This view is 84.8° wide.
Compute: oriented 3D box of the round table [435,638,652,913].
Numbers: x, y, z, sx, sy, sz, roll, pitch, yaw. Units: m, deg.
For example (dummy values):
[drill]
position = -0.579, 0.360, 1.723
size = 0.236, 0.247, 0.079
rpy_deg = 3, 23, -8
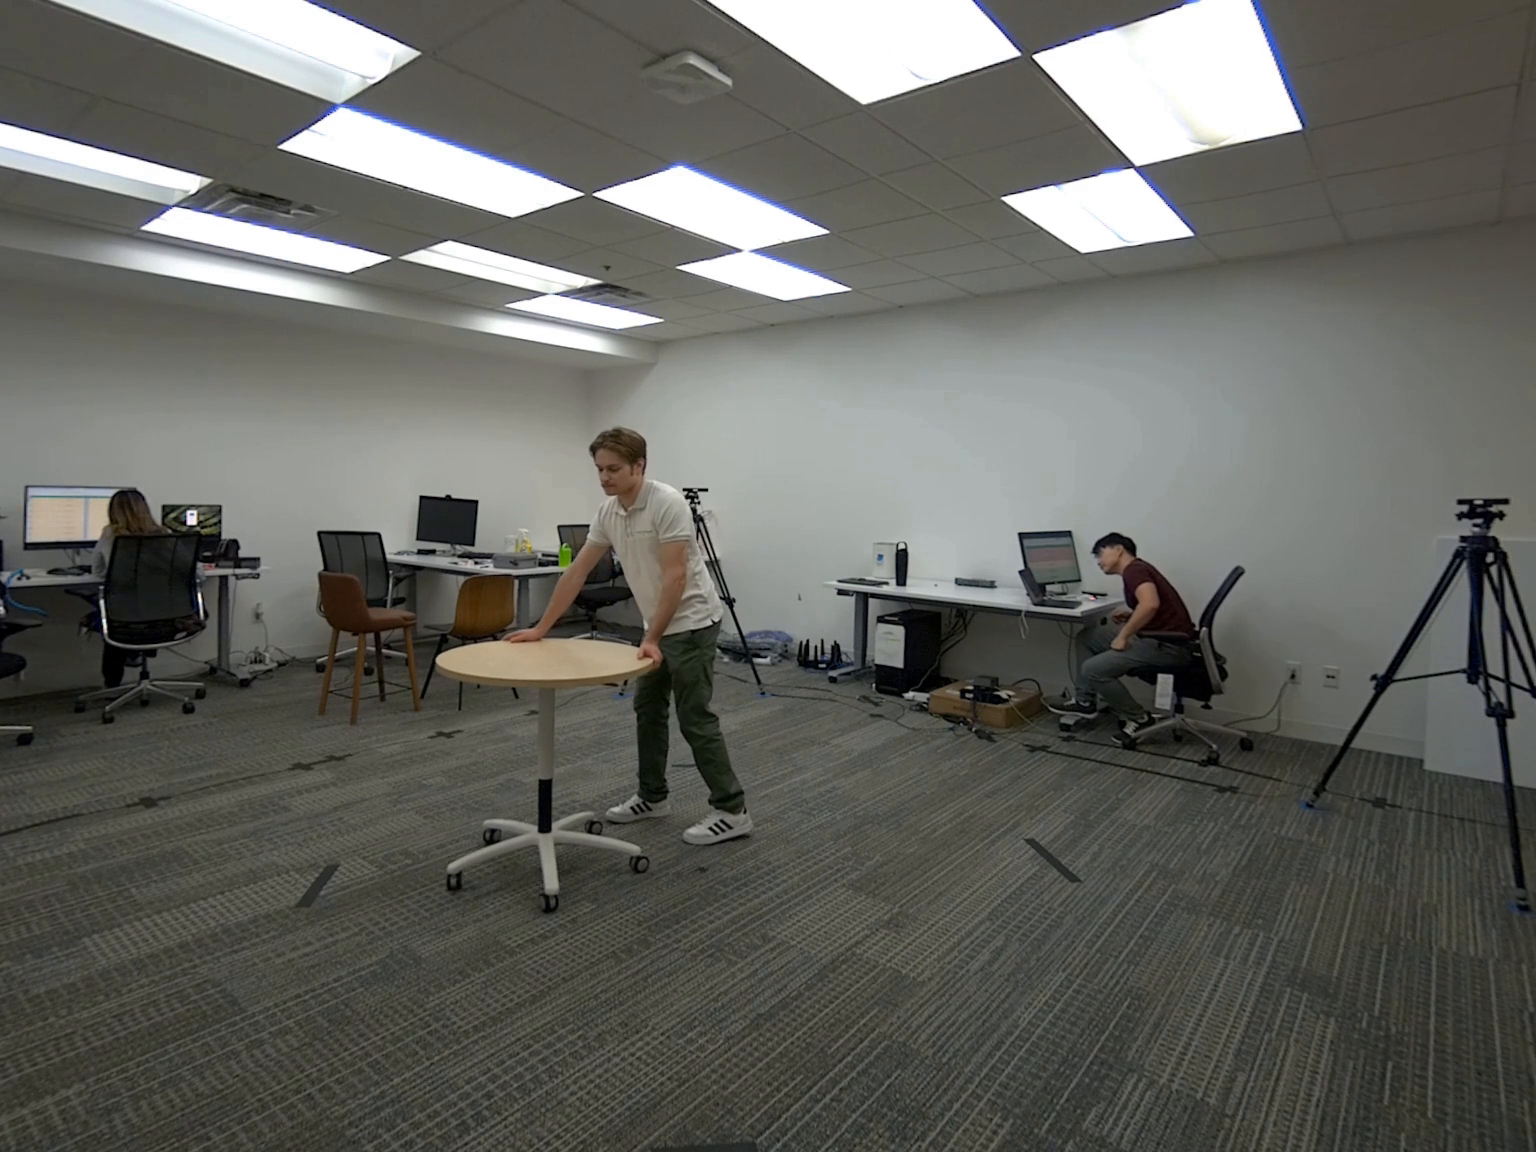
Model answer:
[round table]
position = -0.815, 0.679, 3.071
size = 0.763, 0.792, 0.767
rpy_deg = 1, 4, -2
